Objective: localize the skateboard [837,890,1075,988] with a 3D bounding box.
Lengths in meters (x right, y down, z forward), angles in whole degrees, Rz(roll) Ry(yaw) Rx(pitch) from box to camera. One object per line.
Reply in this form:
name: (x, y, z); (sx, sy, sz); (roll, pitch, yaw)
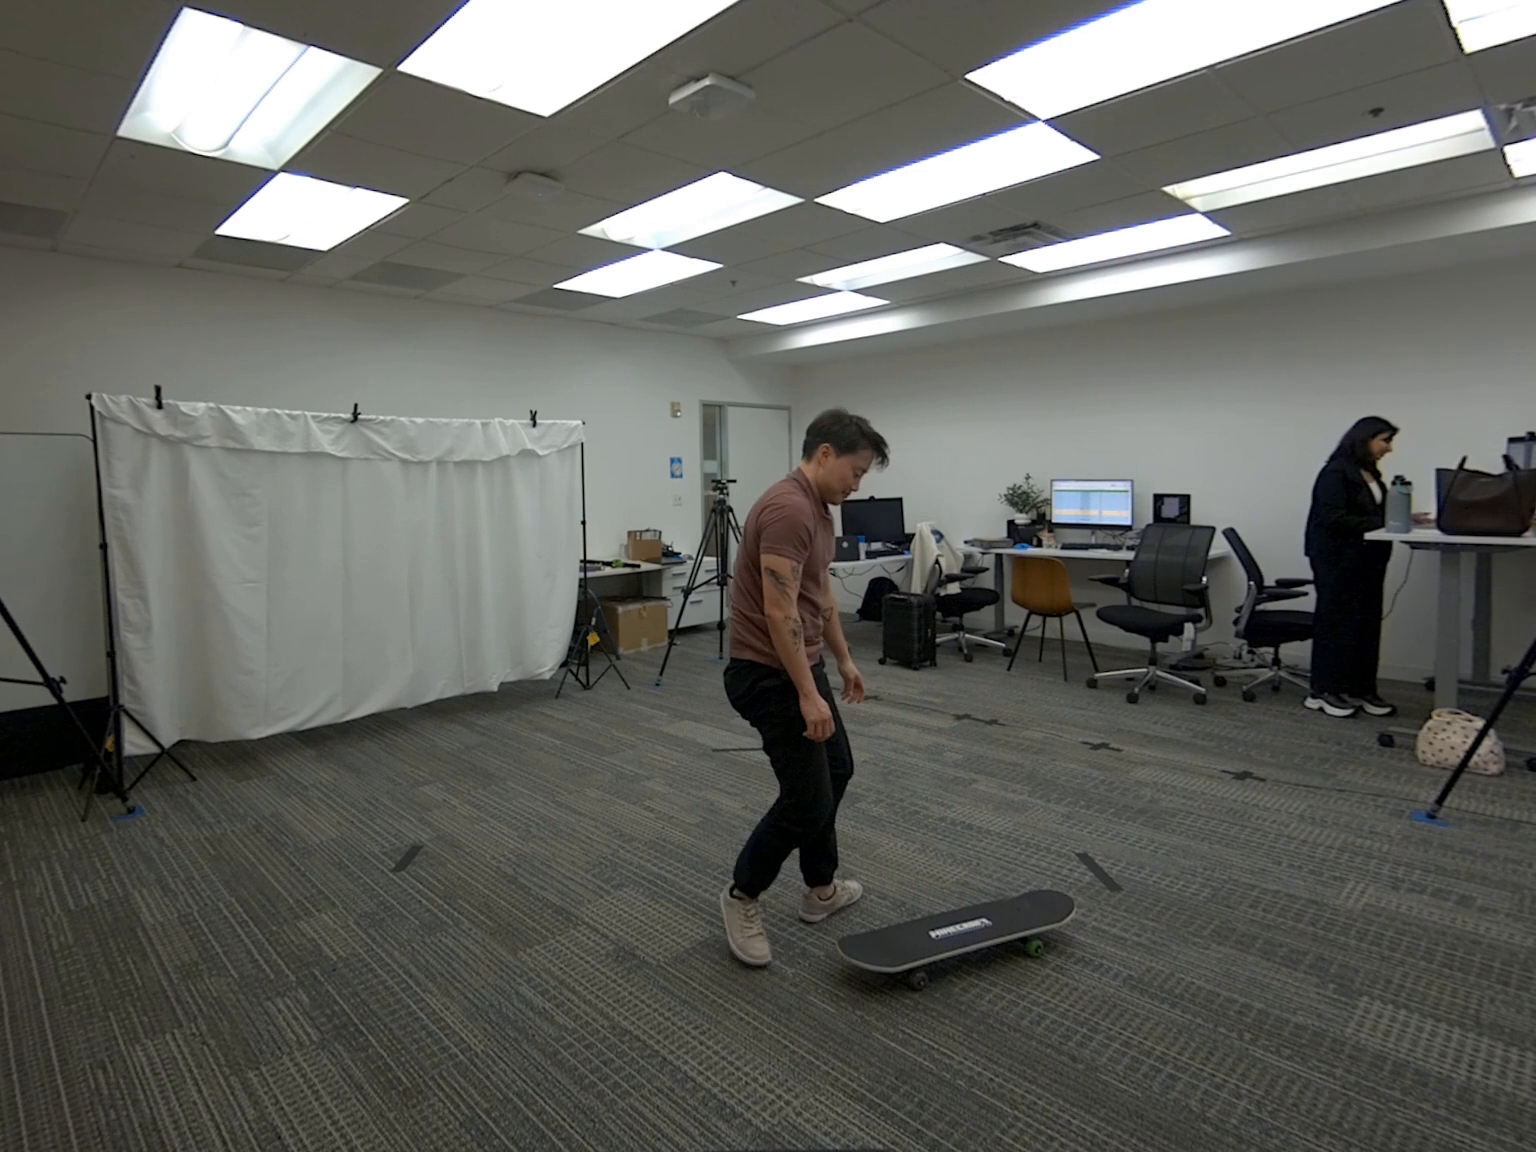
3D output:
skateboard: (0.563, 1.051, 2.474); (0.771, 0.110, 0.198); (-4, 5, -22)
